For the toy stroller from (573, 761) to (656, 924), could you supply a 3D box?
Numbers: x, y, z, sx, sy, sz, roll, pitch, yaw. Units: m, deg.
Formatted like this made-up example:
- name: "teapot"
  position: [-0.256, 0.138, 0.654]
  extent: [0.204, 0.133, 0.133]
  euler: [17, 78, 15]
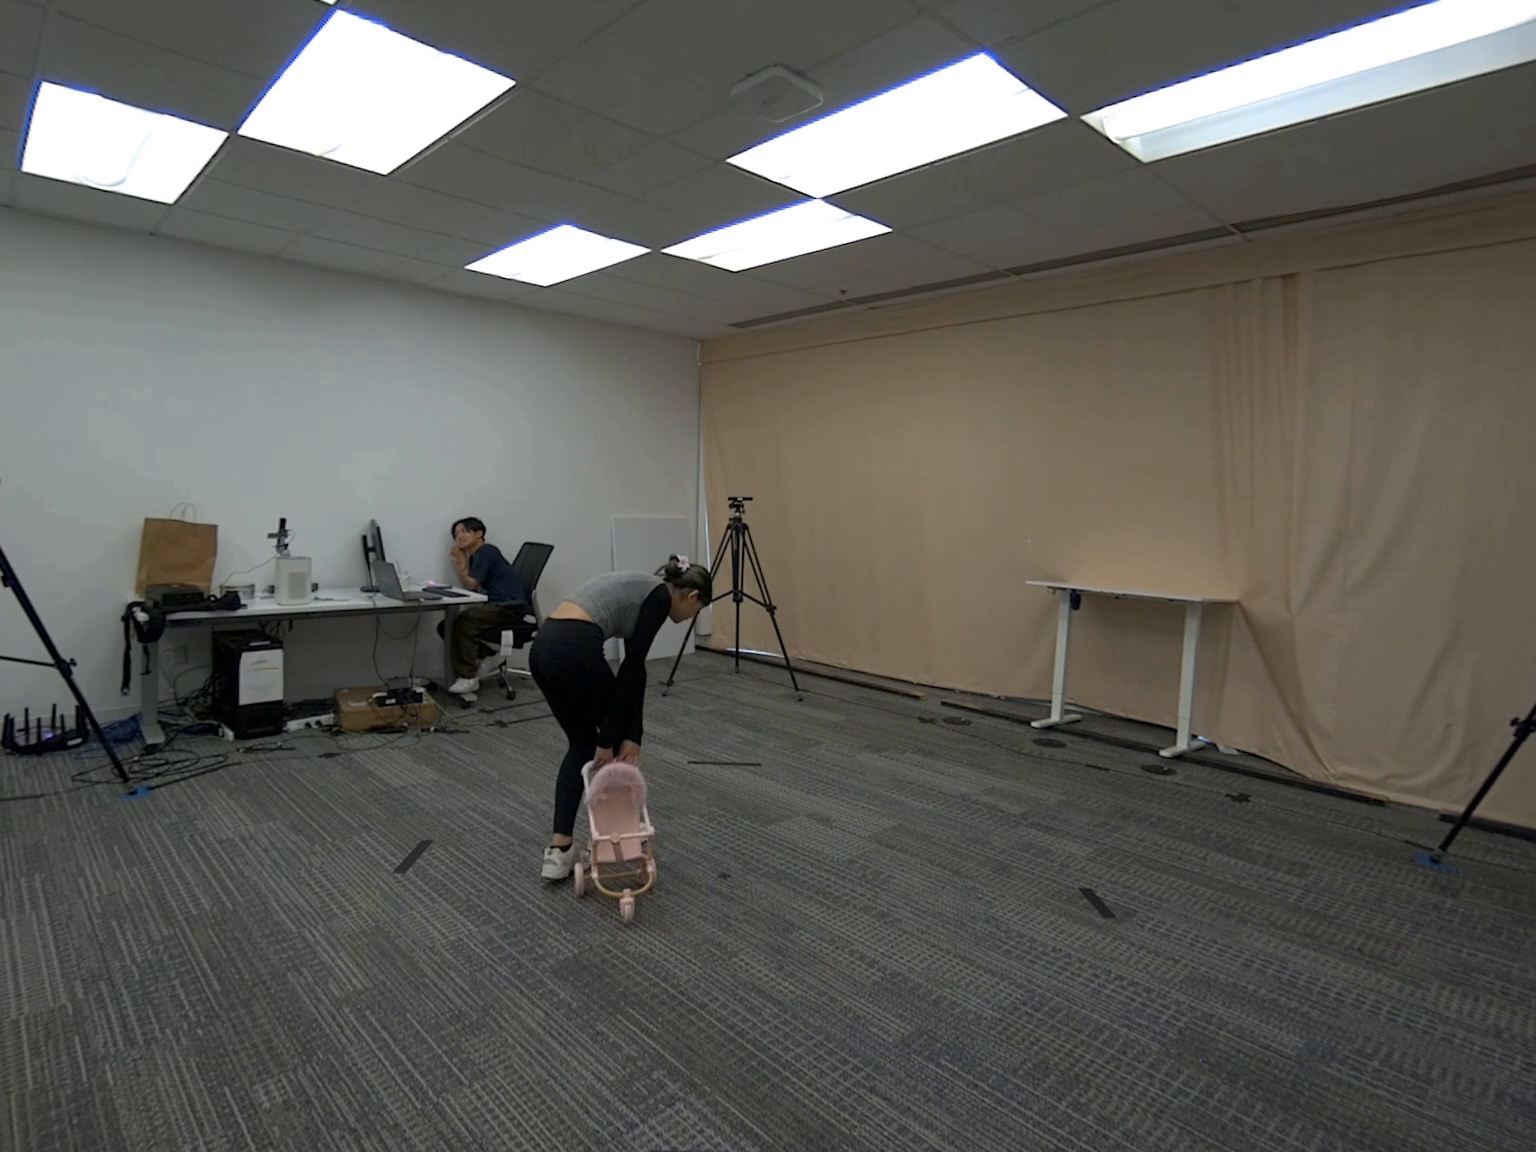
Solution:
- name: "toy stroller"
  position: [-0.522, 0.891, 2.901]
  extent: [0.278, 0.541, 0.341]
  euler: [1, -16, -15]
